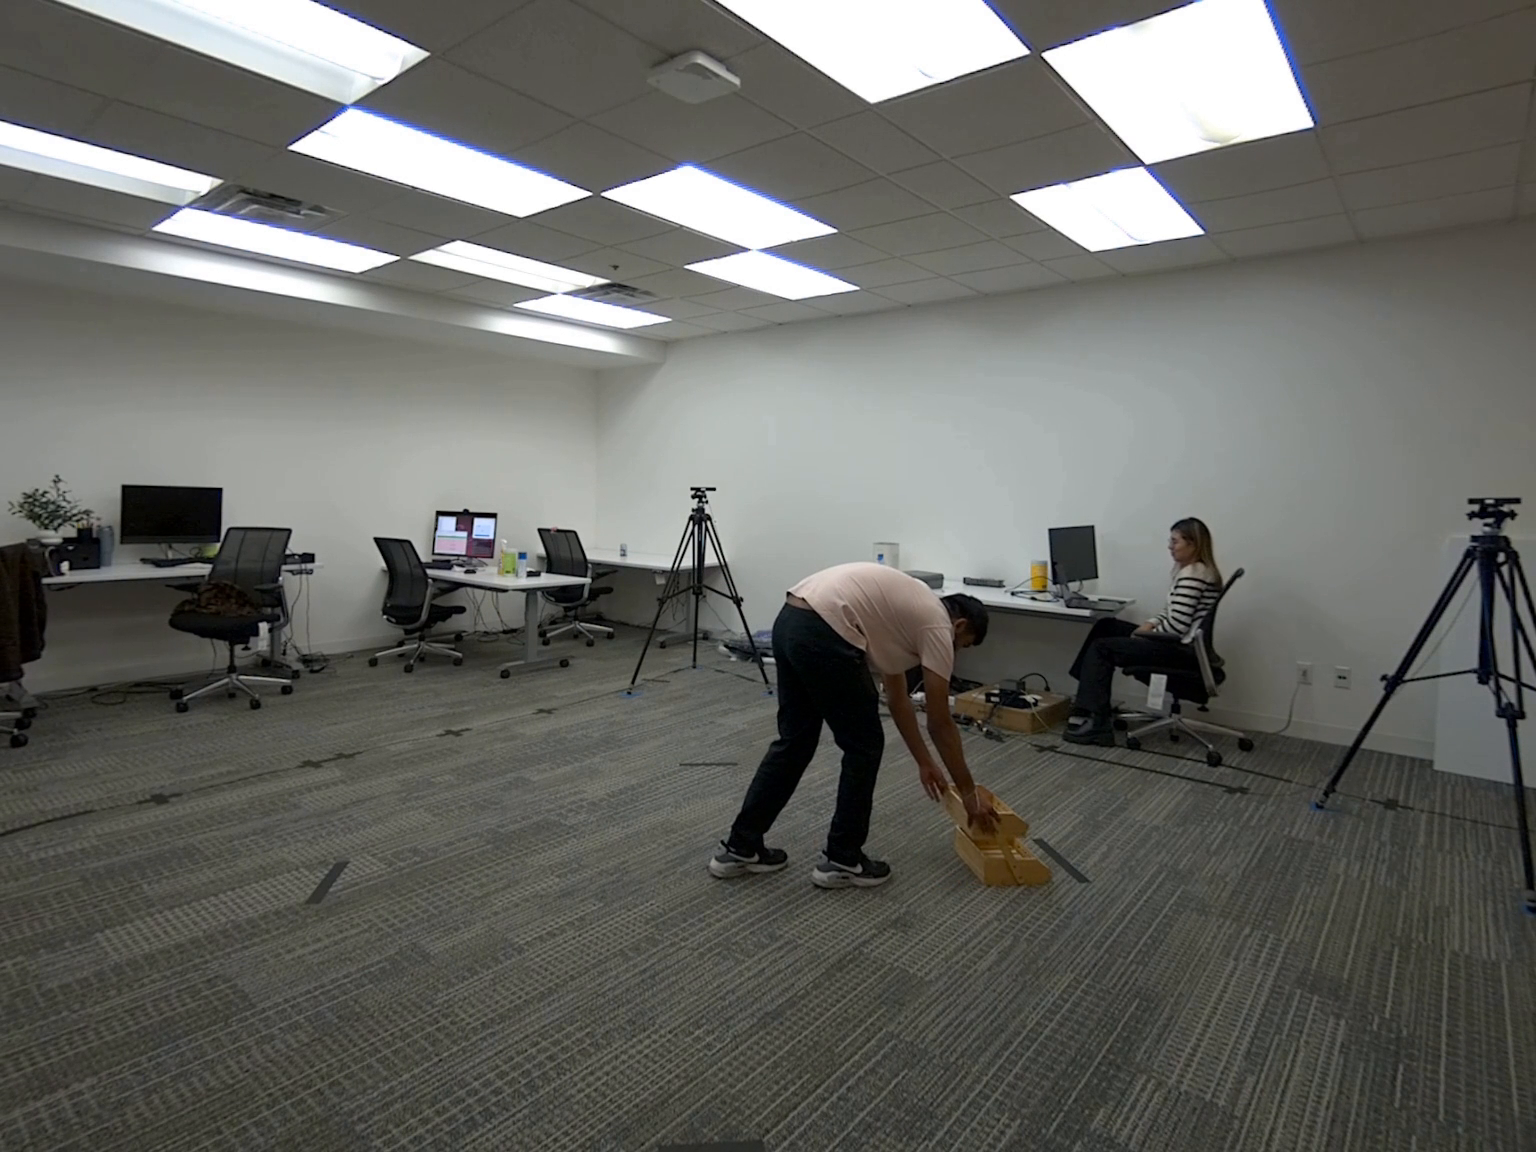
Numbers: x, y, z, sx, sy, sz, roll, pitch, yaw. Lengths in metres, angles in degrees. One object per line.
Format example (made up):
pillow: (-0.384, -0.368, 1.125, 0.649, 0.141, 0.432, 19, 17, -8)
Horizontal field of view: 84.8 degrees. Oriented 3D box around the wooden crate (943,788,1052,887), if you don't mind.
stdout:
wooden crate: (0.847, 0.953, 3.182, 0.300, 0.272, 0.328, 0, 5, -7)
